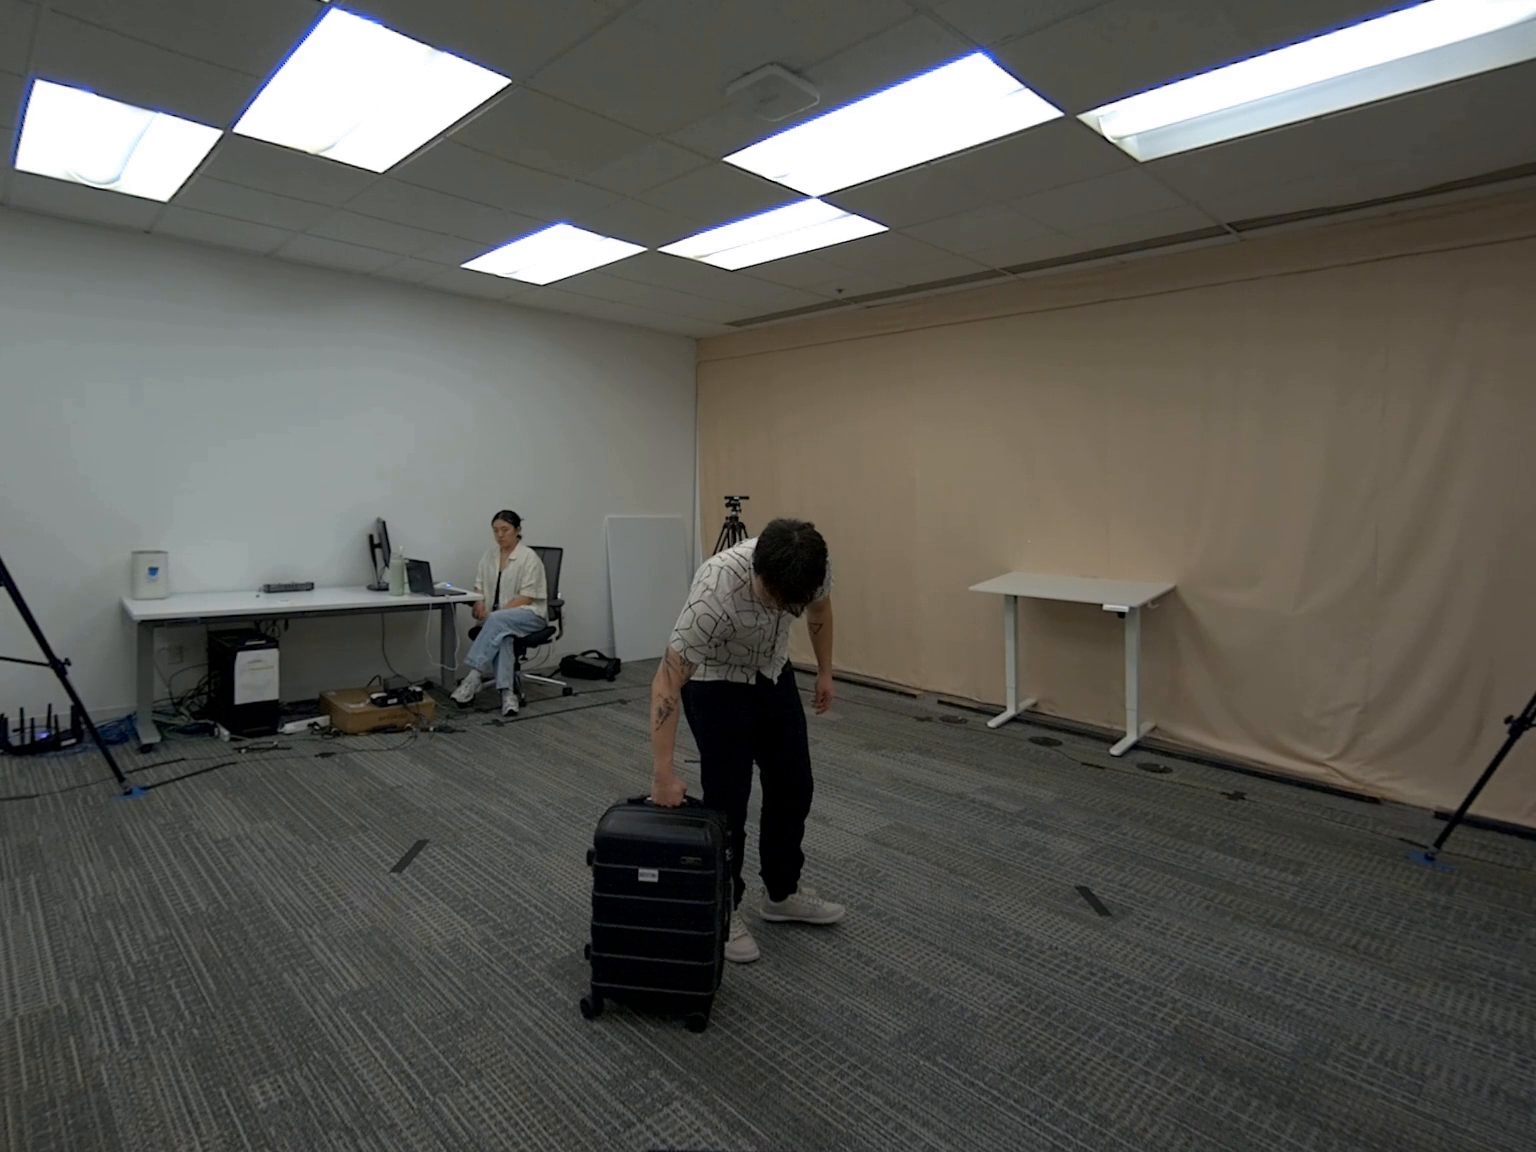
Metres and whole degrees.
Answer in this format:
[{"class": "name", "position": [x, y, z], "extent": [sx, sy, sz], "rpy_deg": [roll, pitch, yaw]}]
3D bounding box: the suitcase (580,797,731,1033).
[{"class": "suitcase", "position": [-0.298, 0.901, 2.306], "extent": [0.377, 0.548, 0.248], "rpy_deg": [3, 4, 6]}]
